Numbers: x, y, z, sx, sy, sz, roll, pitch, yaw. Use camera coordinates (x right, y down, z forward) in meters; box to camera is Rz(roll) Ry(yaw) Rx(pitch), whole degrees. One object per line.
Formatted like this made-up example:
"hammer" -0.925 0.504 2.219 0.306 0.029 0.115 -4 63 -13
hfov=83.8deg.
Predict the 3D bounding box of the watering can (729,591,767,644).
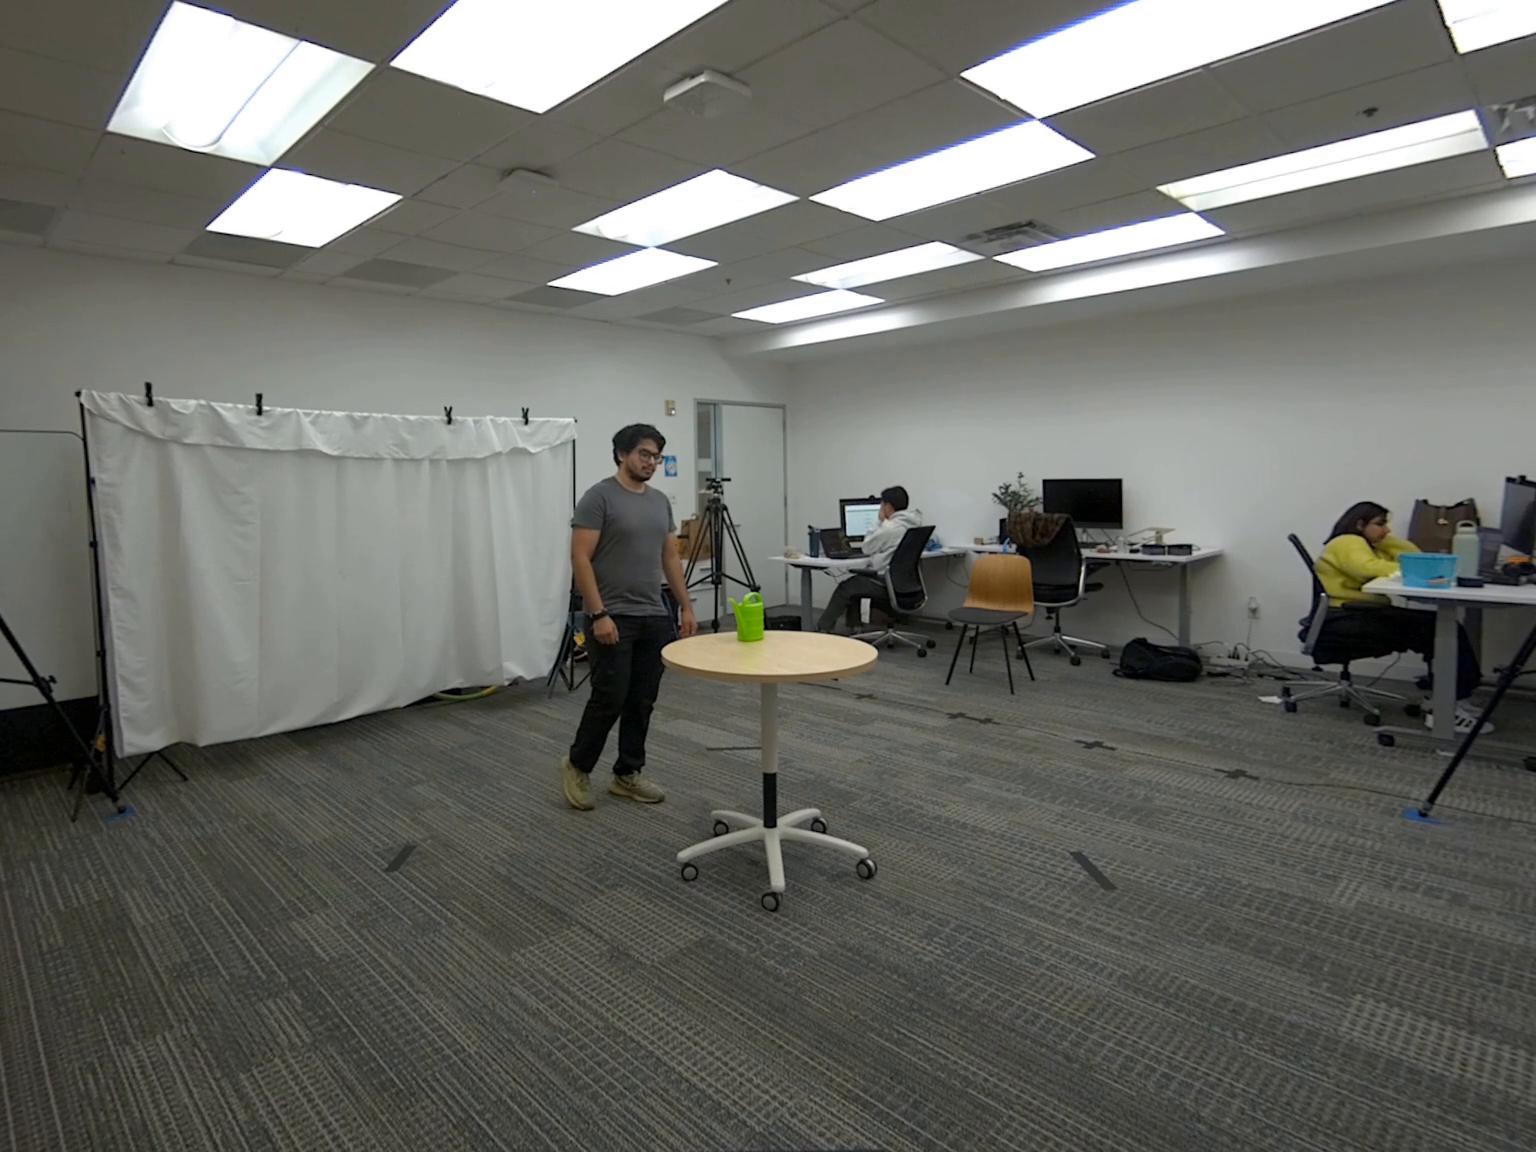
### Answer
"watering can" -0.092 0.156 3.228 0.101 0.176 0.271 0 3 36
